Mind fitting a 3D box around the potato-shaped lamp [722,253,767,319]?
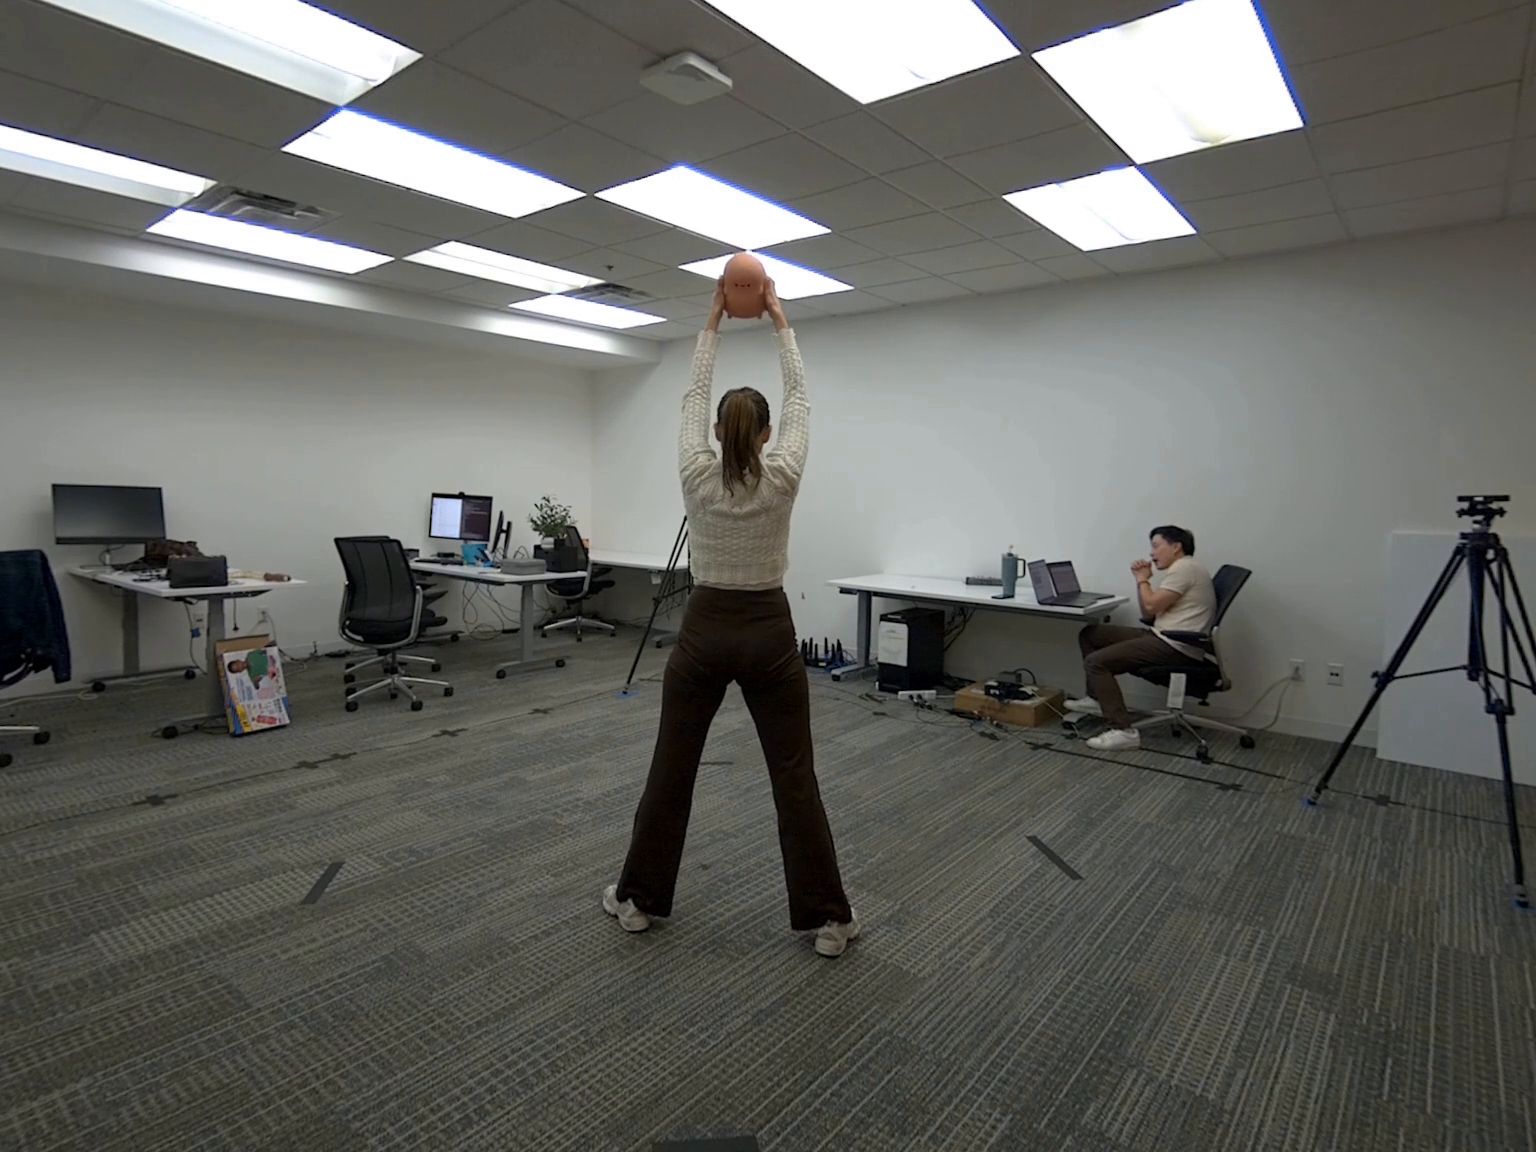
[{"bbox_3d":[-0.082,-0.956,2.775,0.166,0.175,0.193,6,-30,4],"label":"potato-shaped lamp"}]
